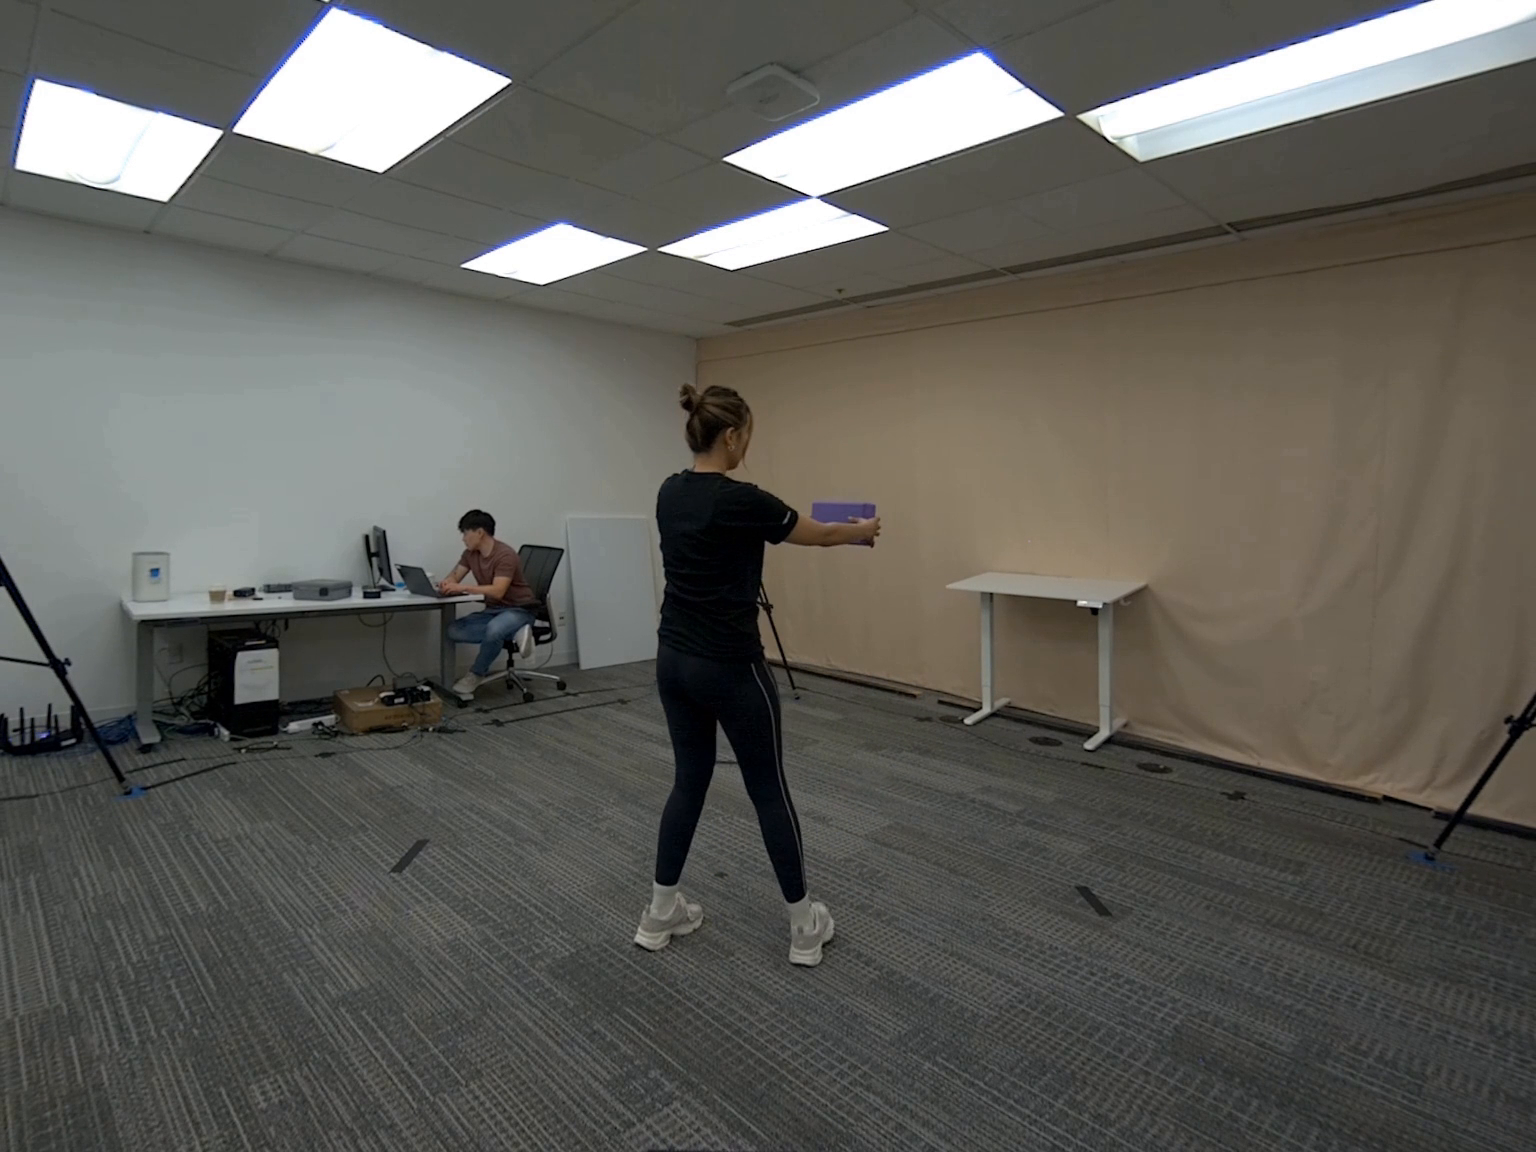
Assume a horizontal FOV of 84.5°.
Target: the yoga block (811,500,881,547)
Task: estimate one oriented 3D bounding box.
[{"bbox_3d":[0.265,-0.184,2.939,0.235,0.149,0.074,5,1,39],"label":"yoga block"}]
